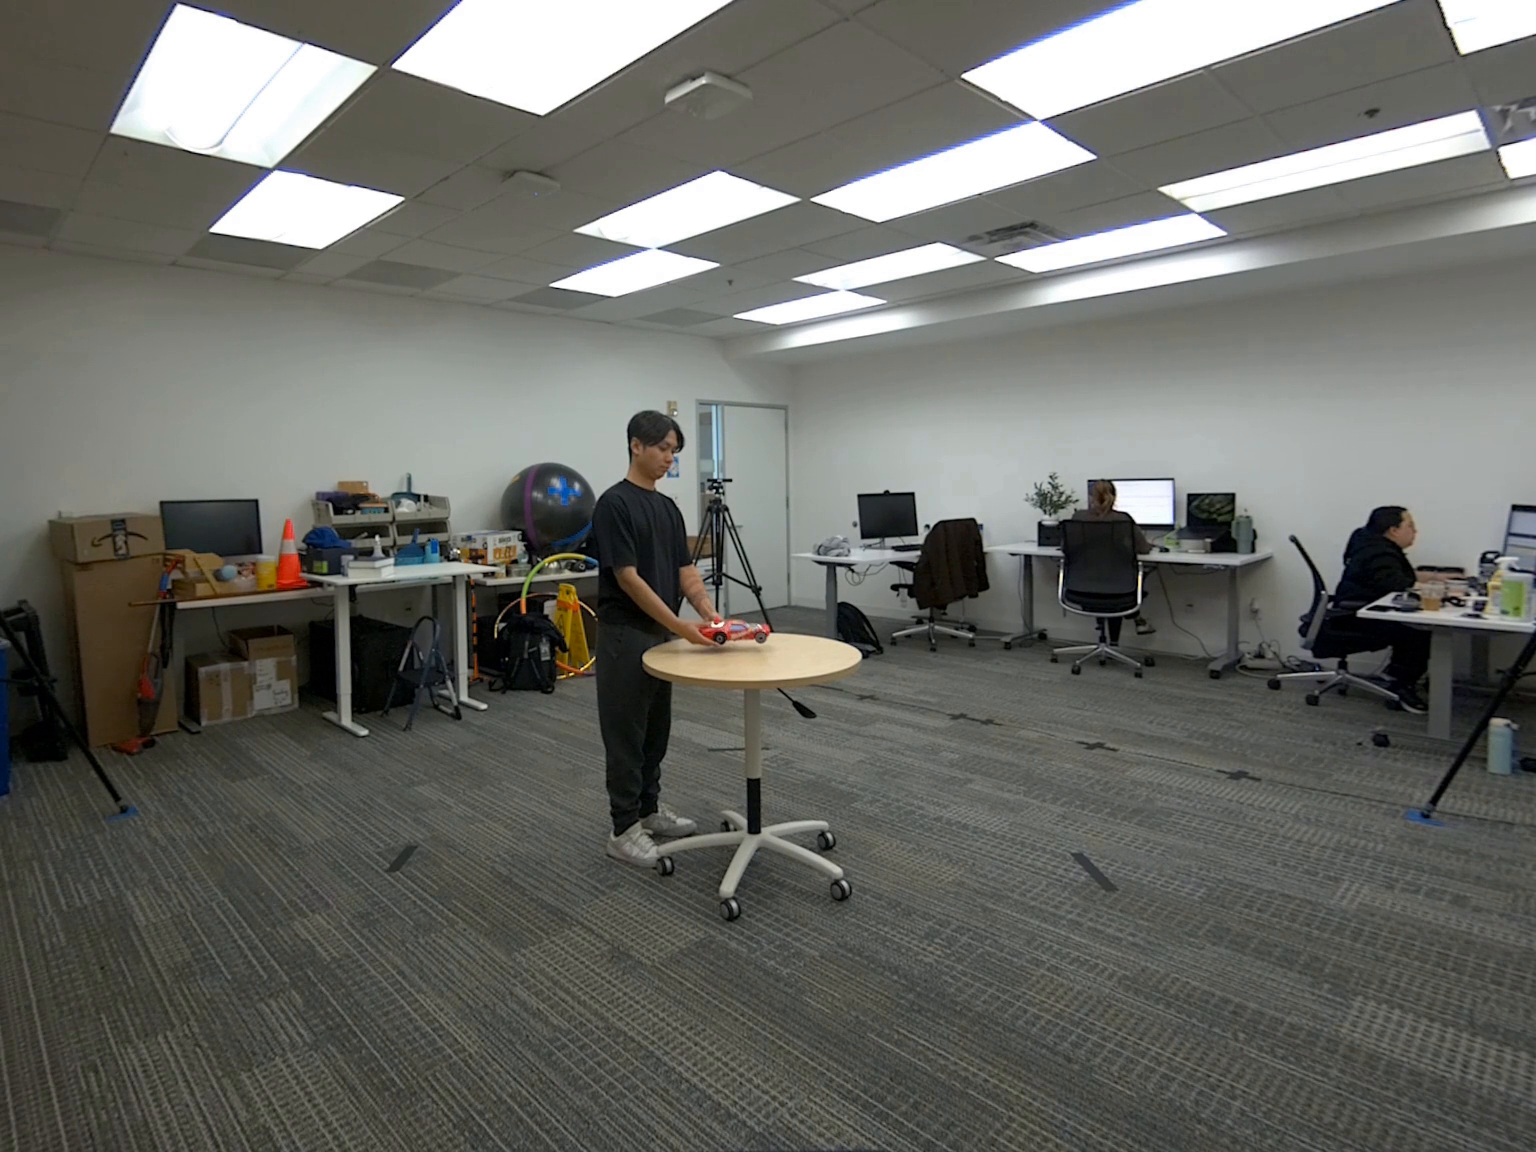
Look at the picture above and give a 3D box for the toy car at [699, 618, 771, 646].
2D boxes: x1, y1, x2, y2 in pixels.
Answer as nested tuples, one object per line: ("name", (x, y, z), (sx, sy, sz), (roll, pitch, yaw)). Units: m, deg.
("toy car", (-0.130, 0.201, 3.062), (0.255, 0.083, 0.130), (9, 6, 2))
